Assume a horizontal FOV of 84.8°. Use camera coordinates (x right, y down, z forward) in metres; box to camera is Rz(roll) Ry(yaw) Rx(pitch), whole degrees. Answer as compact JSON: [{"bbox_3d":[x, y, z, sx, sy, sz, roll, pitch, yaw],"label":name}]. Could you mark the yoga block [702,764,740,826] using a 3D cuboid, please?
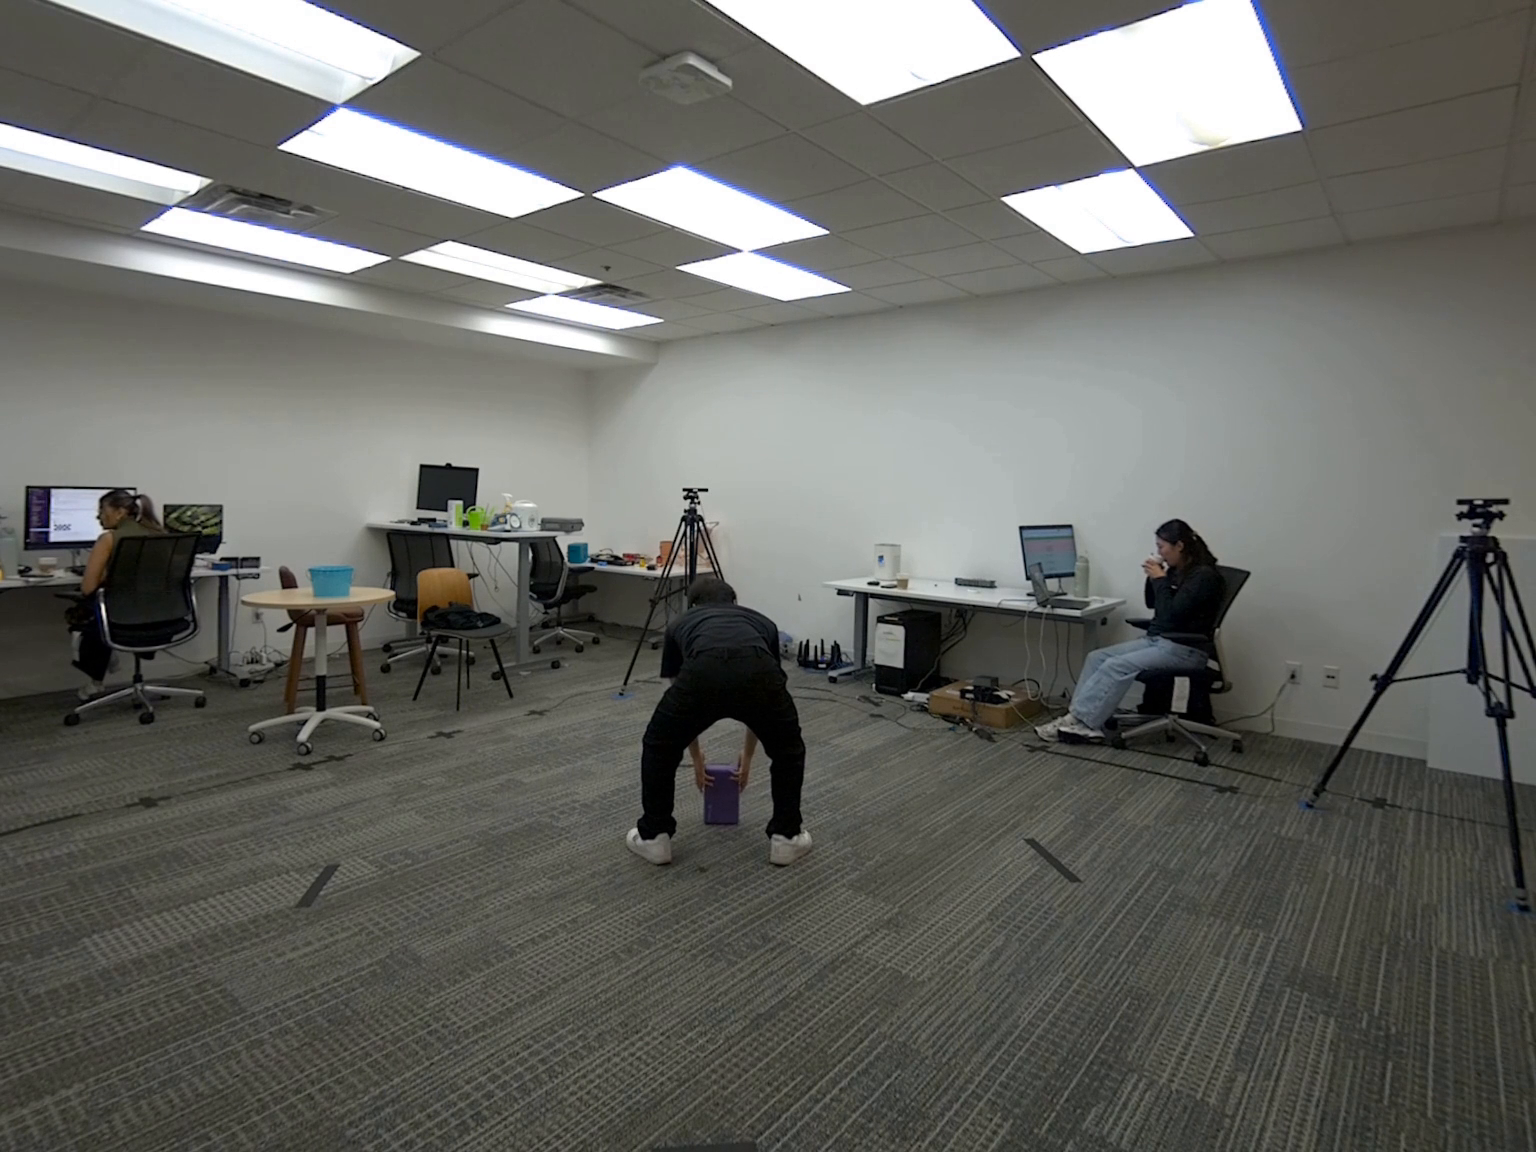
[{"bbox_3d":[-0.206,0.914,3.563,0.149,0.229,0.076,-1,1,-1],"label":"yoga block"}]
